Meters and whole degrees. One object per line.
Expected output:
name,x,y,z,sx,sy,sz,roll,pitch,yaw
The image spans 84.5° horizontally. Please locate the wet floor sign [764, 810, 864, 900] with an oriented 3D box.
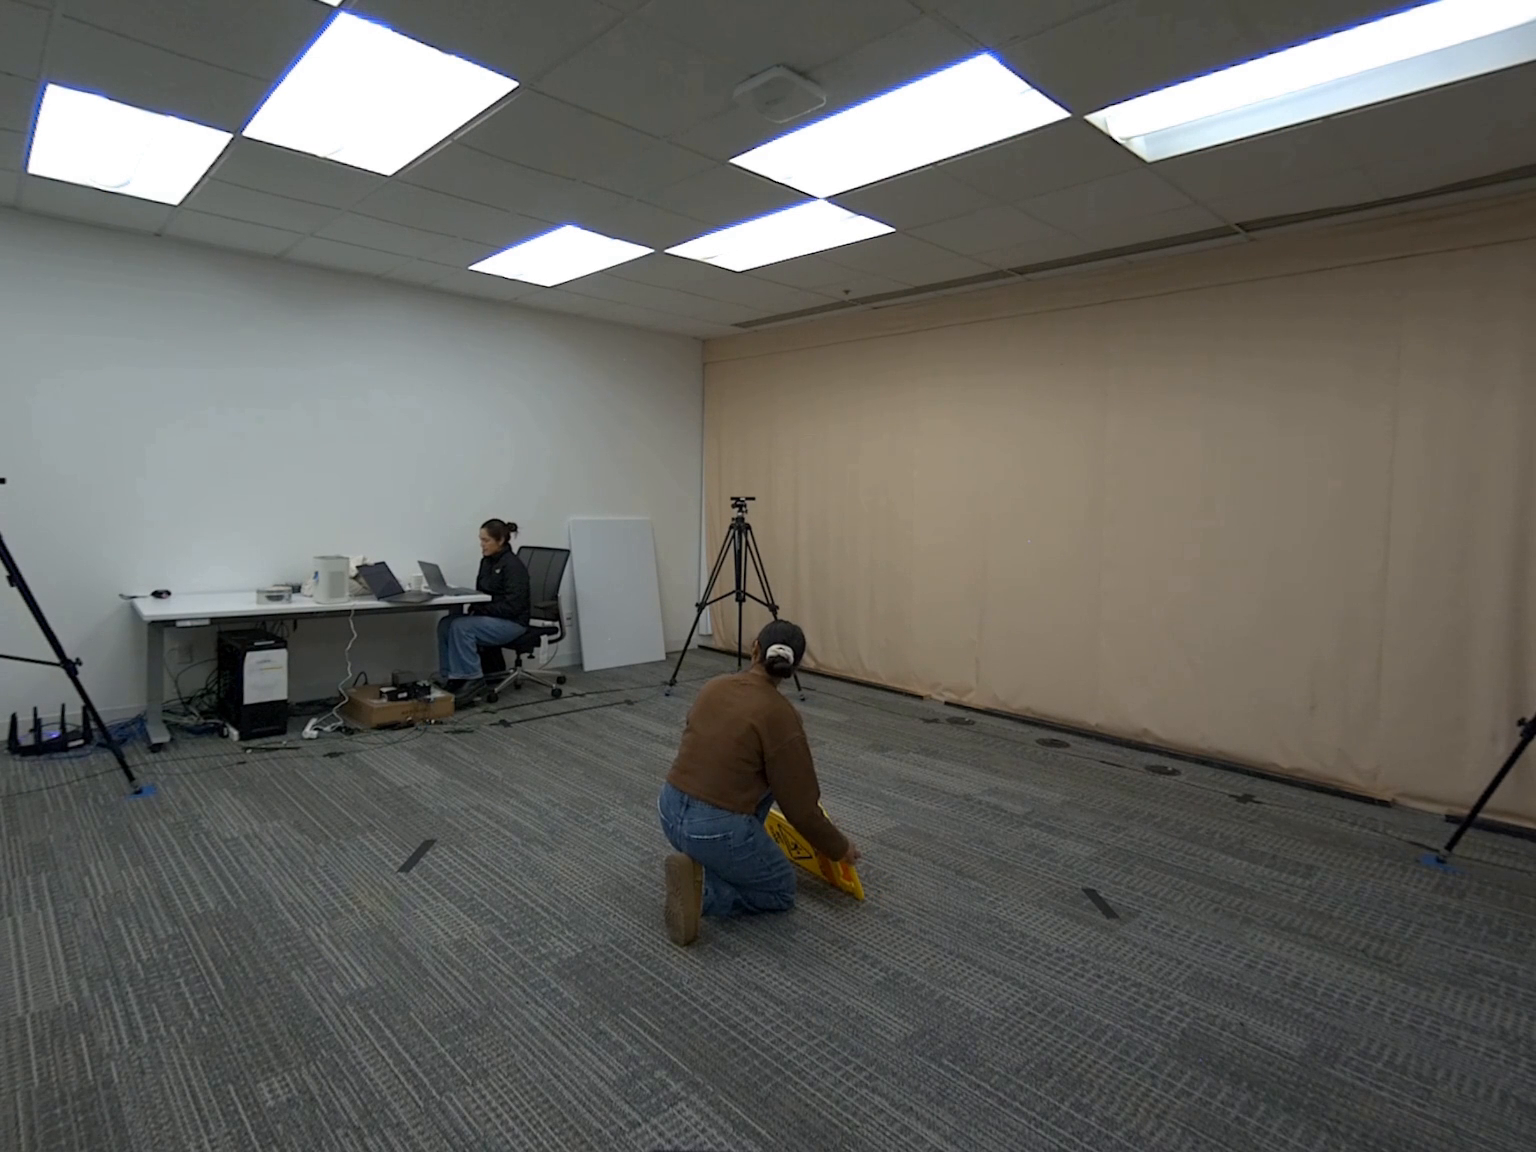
wet floor sign,0.144,0.973,3.175,0.288,0.277,0.663,-27,23,-18
